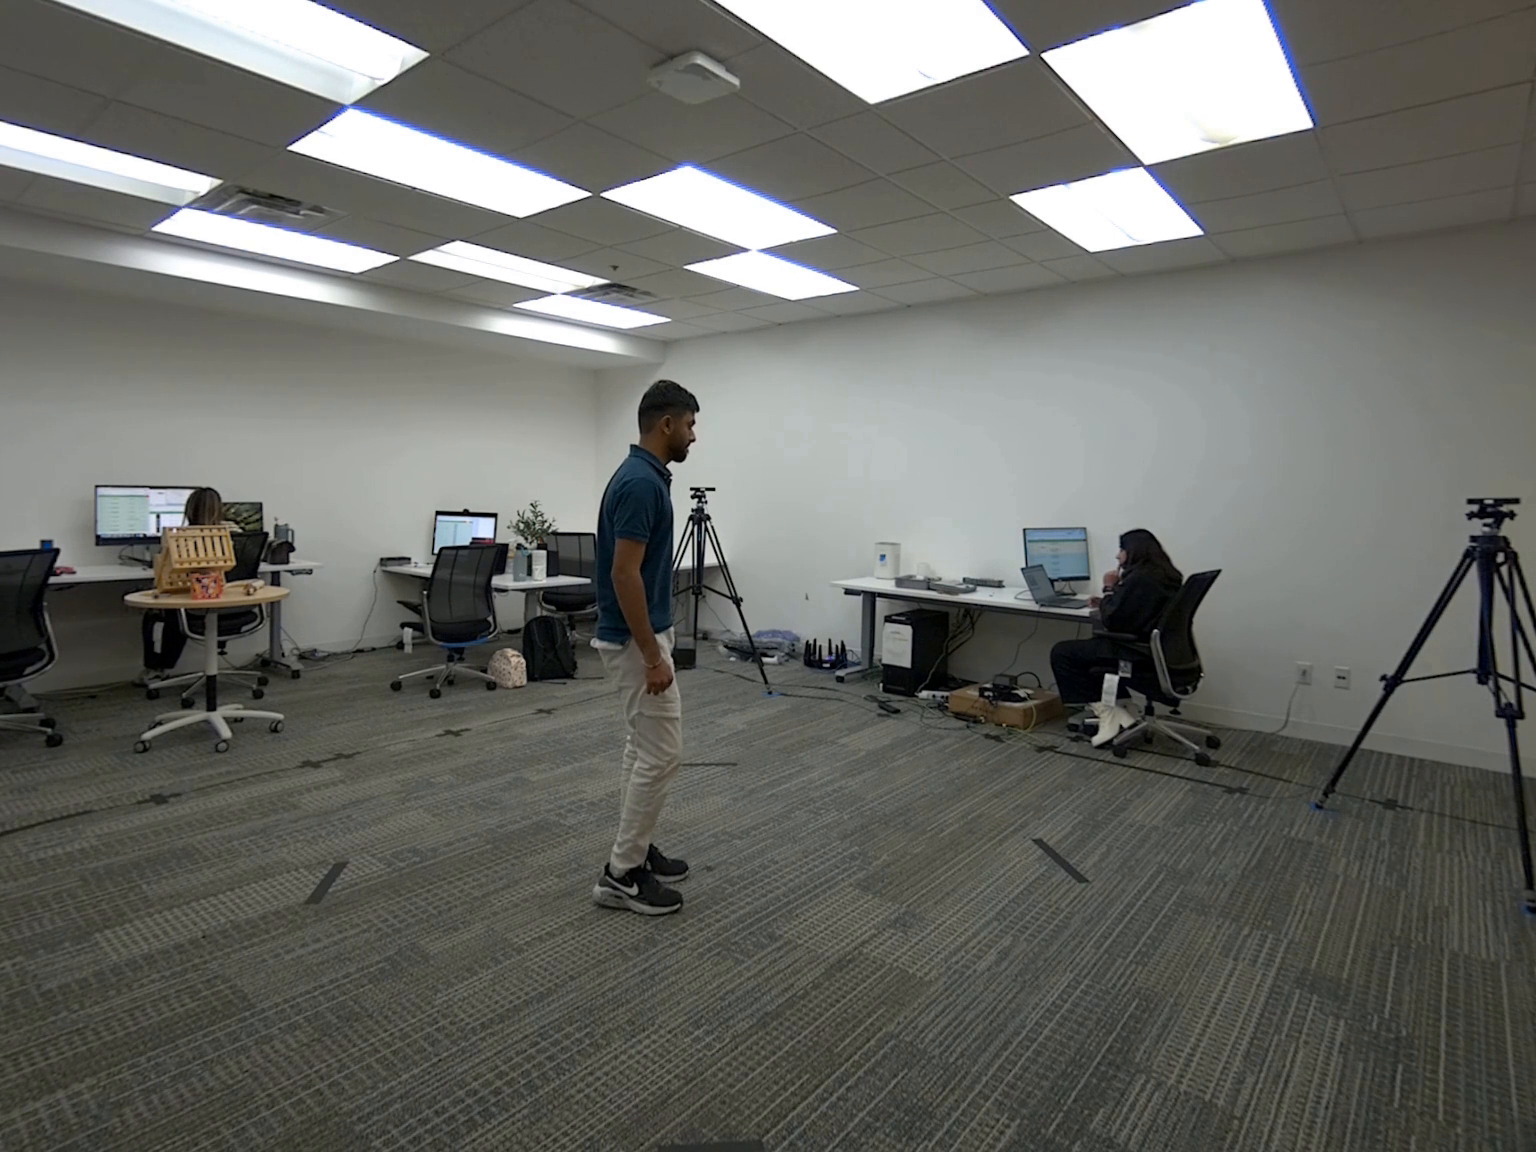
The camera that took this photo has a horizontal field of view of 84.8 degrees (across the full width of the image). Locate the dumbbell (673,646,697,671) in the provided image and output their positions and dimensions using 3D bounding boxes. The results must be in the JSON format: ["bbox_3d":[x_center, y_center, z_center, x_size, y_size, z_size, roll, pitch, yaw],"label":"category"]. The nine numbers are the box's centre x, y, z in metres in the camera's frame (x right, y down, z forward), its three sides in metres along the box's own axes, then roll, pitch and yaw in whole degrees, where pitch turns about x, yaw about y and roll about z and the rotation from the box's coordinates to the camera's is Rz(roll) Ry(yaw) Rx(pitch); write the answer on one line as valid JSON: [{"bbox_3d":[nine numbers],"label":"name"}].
[{"bbox_3d":[-0.423,0.274,3.109,0.292,0.122,0.110,4,7,-5],"label":"dumbbell"}]
